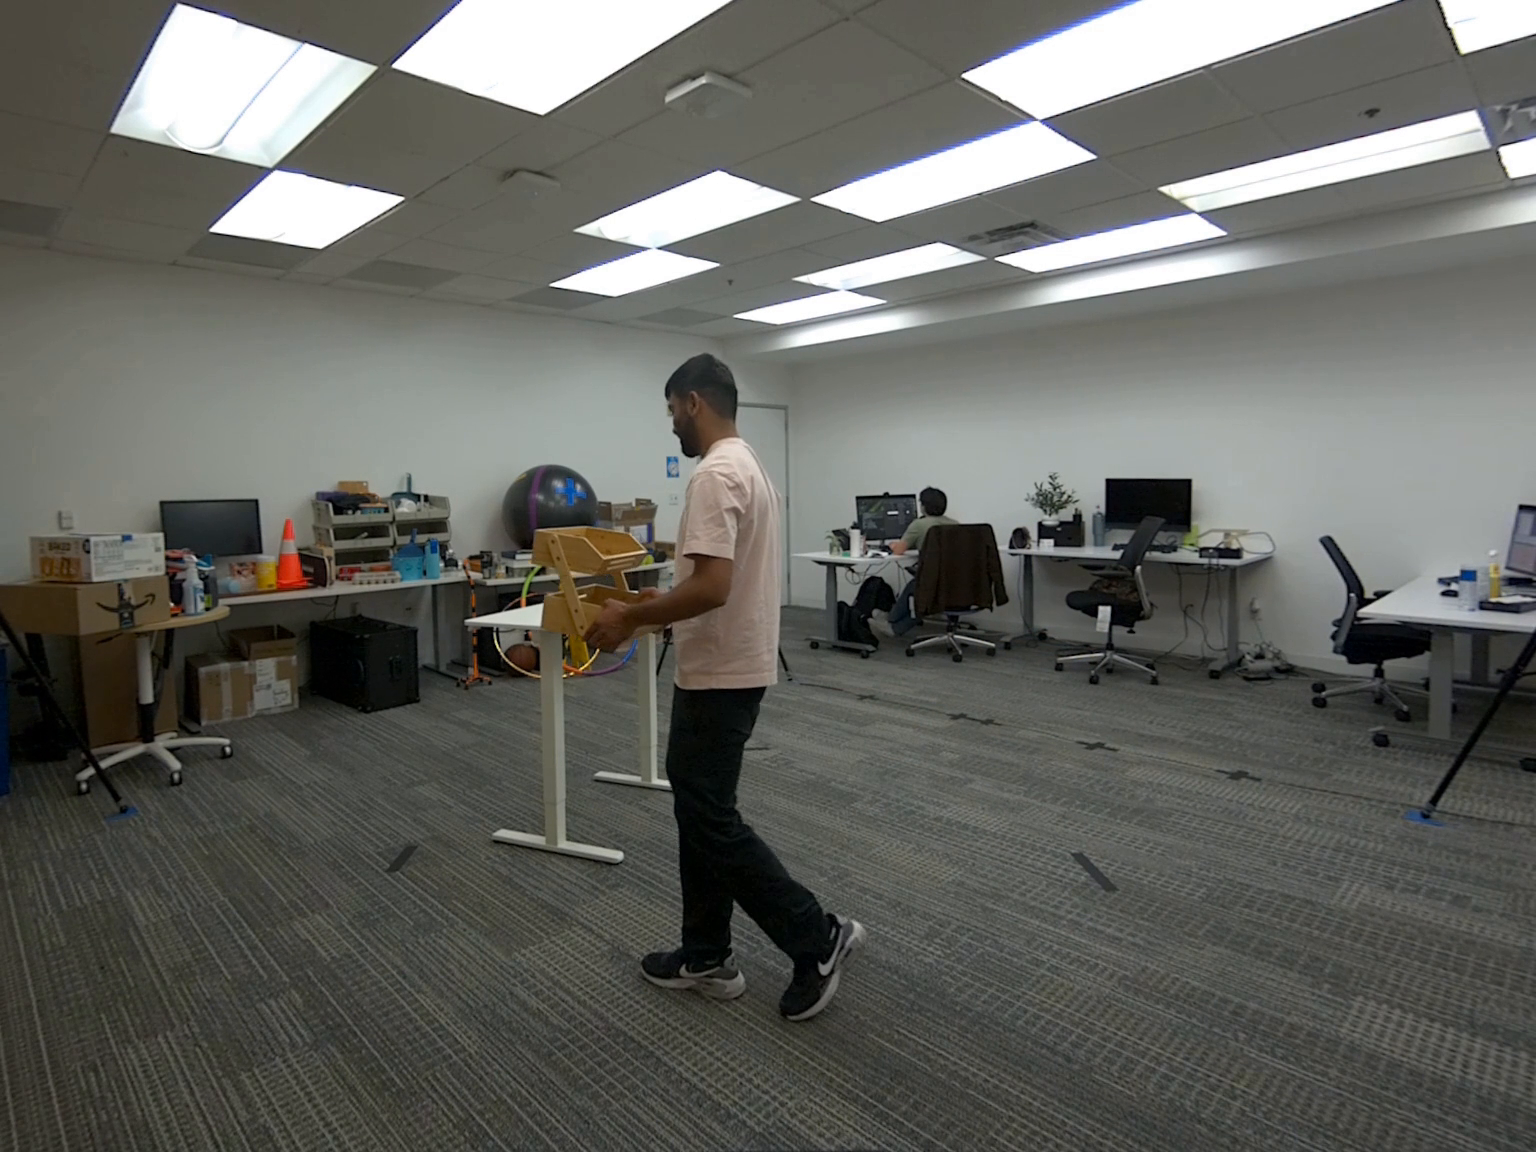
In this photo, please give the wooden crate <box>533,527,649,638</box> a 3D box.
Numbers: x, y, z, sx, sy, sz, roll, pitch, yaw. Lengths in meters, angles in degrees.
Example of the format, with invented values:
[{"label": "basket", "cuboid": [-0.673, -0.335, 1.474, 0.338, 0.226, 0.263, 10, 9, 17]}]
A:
[{"label": "wooden crate", "cuboid": [-0.425, 0.005, 2.358, 0.307, 0.272, 0.320, 1, 4, 16]}]
